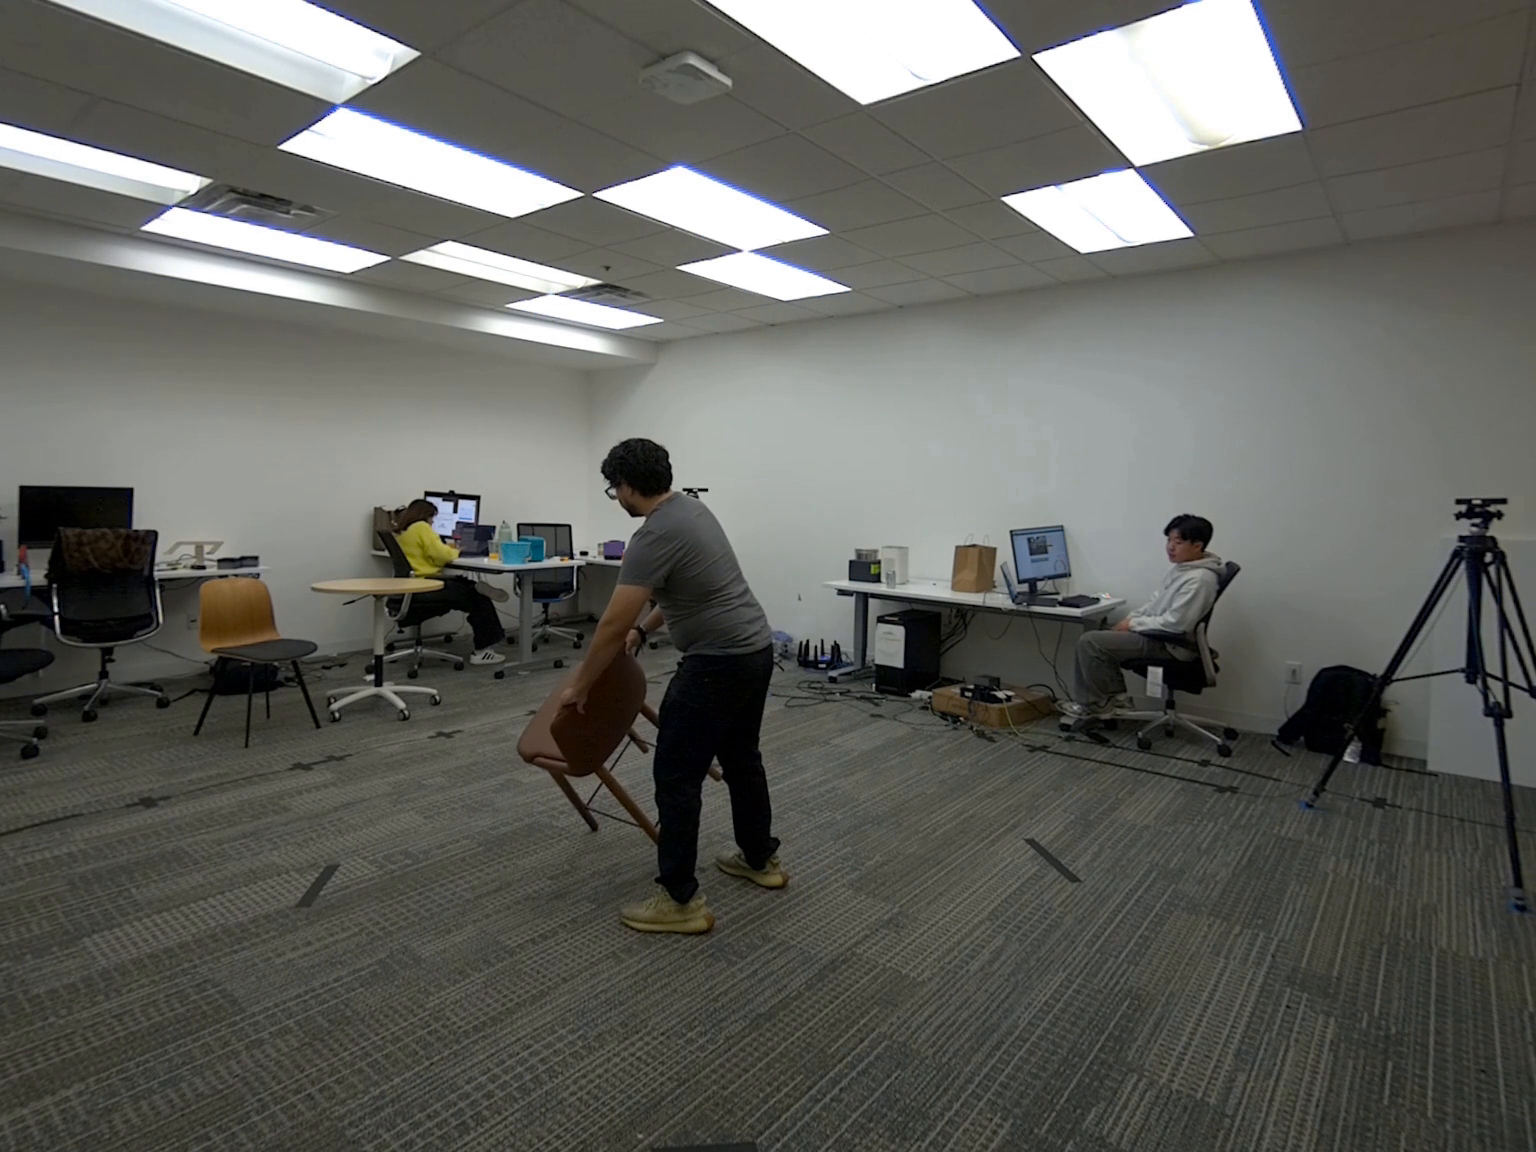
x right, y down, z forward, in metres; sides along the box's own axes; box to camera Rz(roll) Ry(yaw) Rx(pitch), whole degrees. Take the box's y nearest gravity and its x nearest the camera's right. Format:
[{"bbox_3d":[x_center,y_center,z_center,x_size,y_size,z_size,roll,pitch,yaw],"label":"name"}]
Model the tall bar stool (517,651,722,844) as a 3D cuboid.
[{"bbox_3d":[-0.618,0.612,3.170,0.484,0.856,0.458,8,49,37],"label":"tall bar stool"}]
